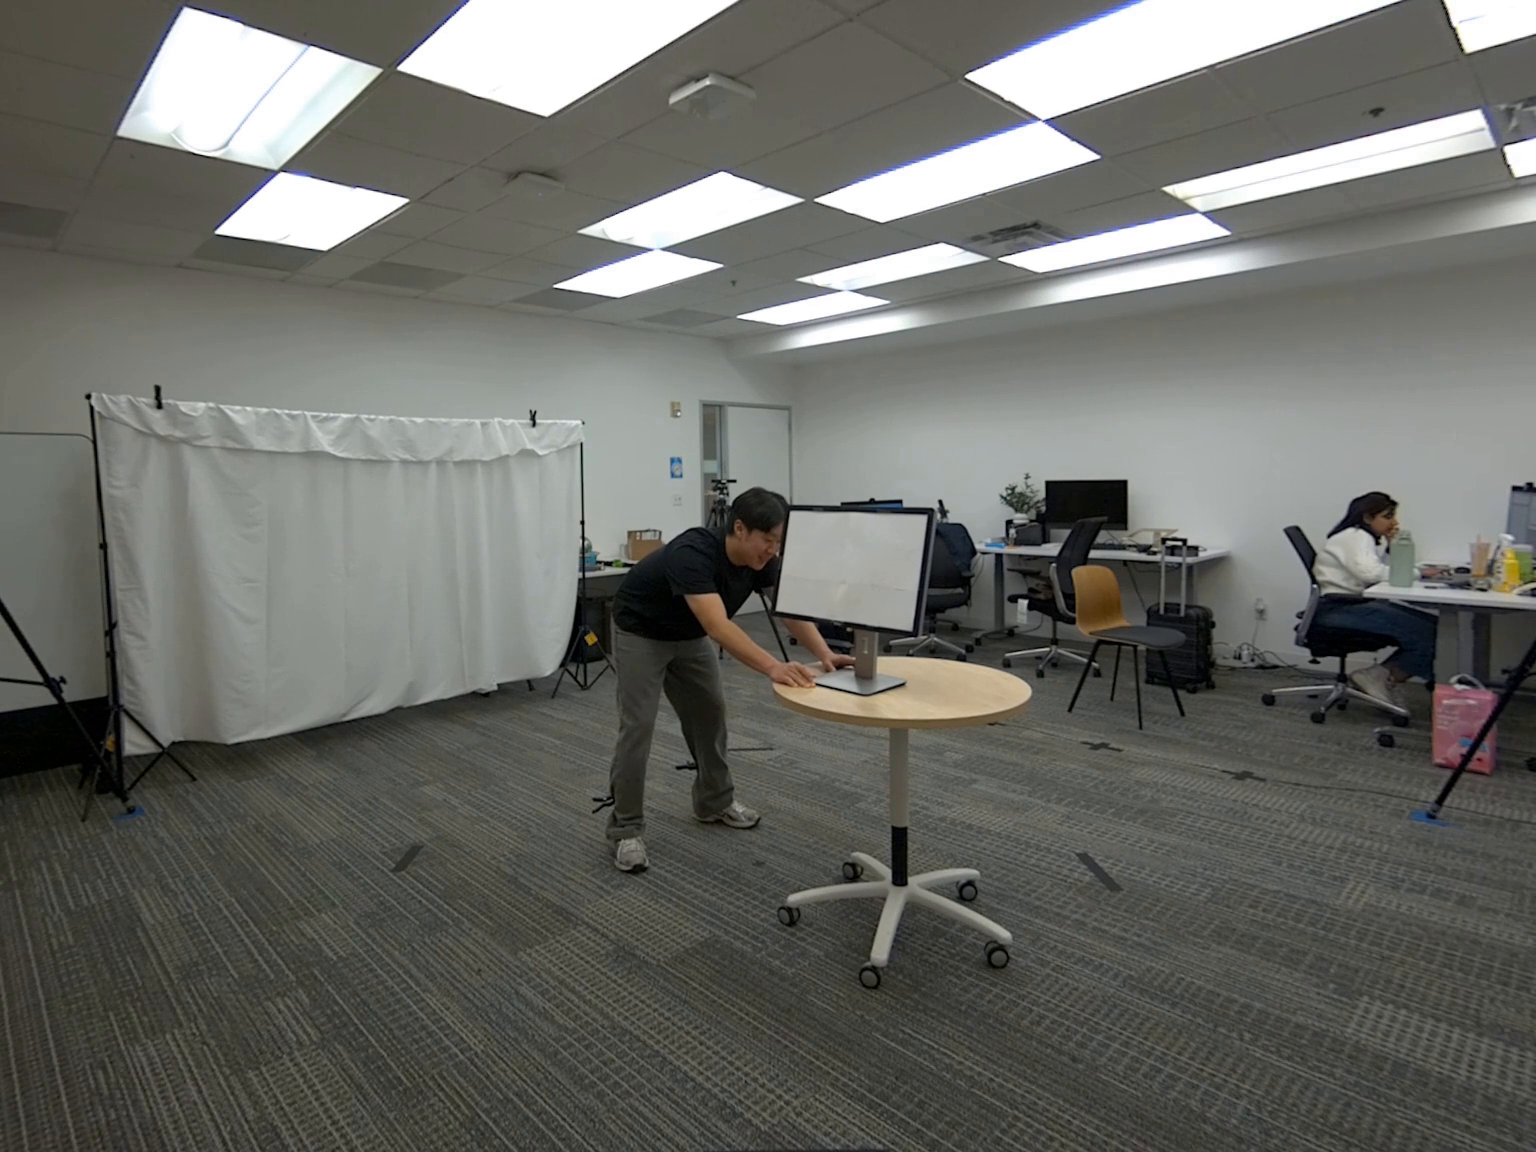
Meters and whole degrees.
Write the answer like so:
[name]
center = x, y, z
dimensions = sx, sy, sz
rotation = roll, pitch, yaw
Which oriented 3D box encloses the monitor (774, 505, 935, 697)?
[monitor]
center = 0.289, 0.061, 2.603
dimensions = 0.583, 0.554, 0.204
rotation = 4, 0, 44
